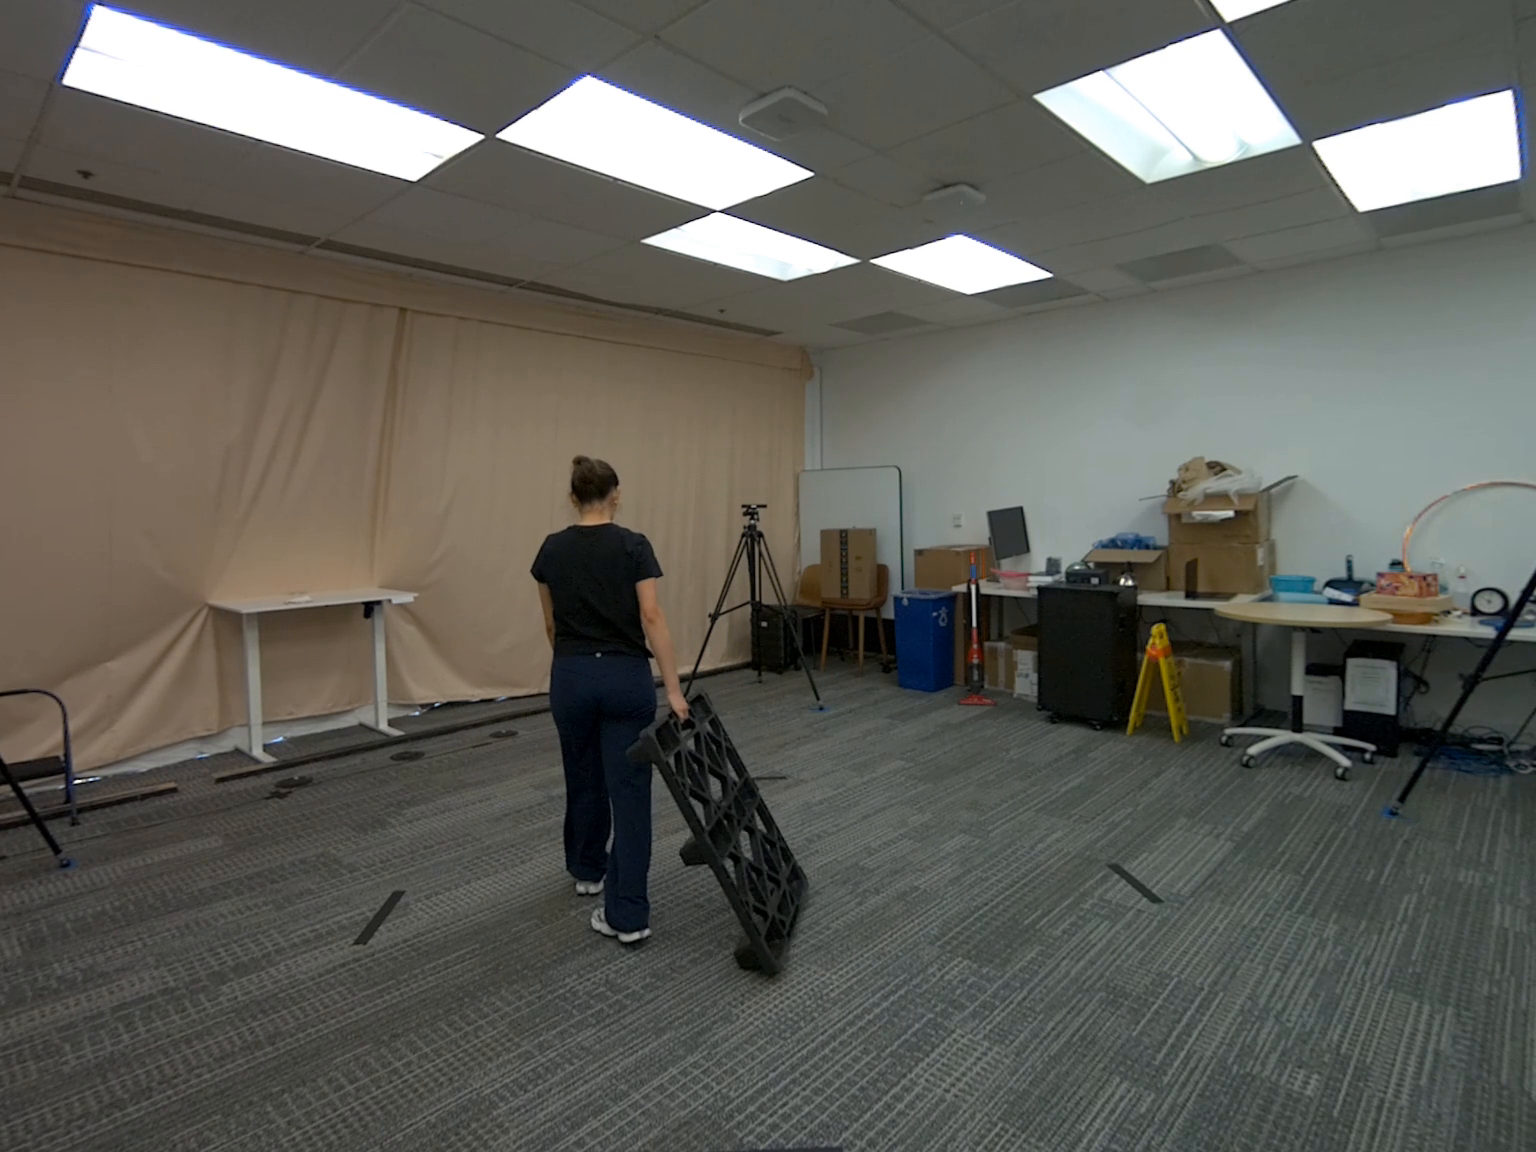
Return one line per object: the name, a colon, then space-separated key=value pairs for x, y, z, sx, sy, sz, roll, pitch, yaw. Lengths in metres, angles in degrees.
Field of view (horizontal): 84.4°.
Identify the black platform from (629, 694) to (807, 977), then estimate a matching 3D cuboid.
black platform: x=-0.142 y=0.809 z=2.767 sx=0.144 sy=0.809 sz=0.598 roll=-30 pitch=-3 yaw=11
